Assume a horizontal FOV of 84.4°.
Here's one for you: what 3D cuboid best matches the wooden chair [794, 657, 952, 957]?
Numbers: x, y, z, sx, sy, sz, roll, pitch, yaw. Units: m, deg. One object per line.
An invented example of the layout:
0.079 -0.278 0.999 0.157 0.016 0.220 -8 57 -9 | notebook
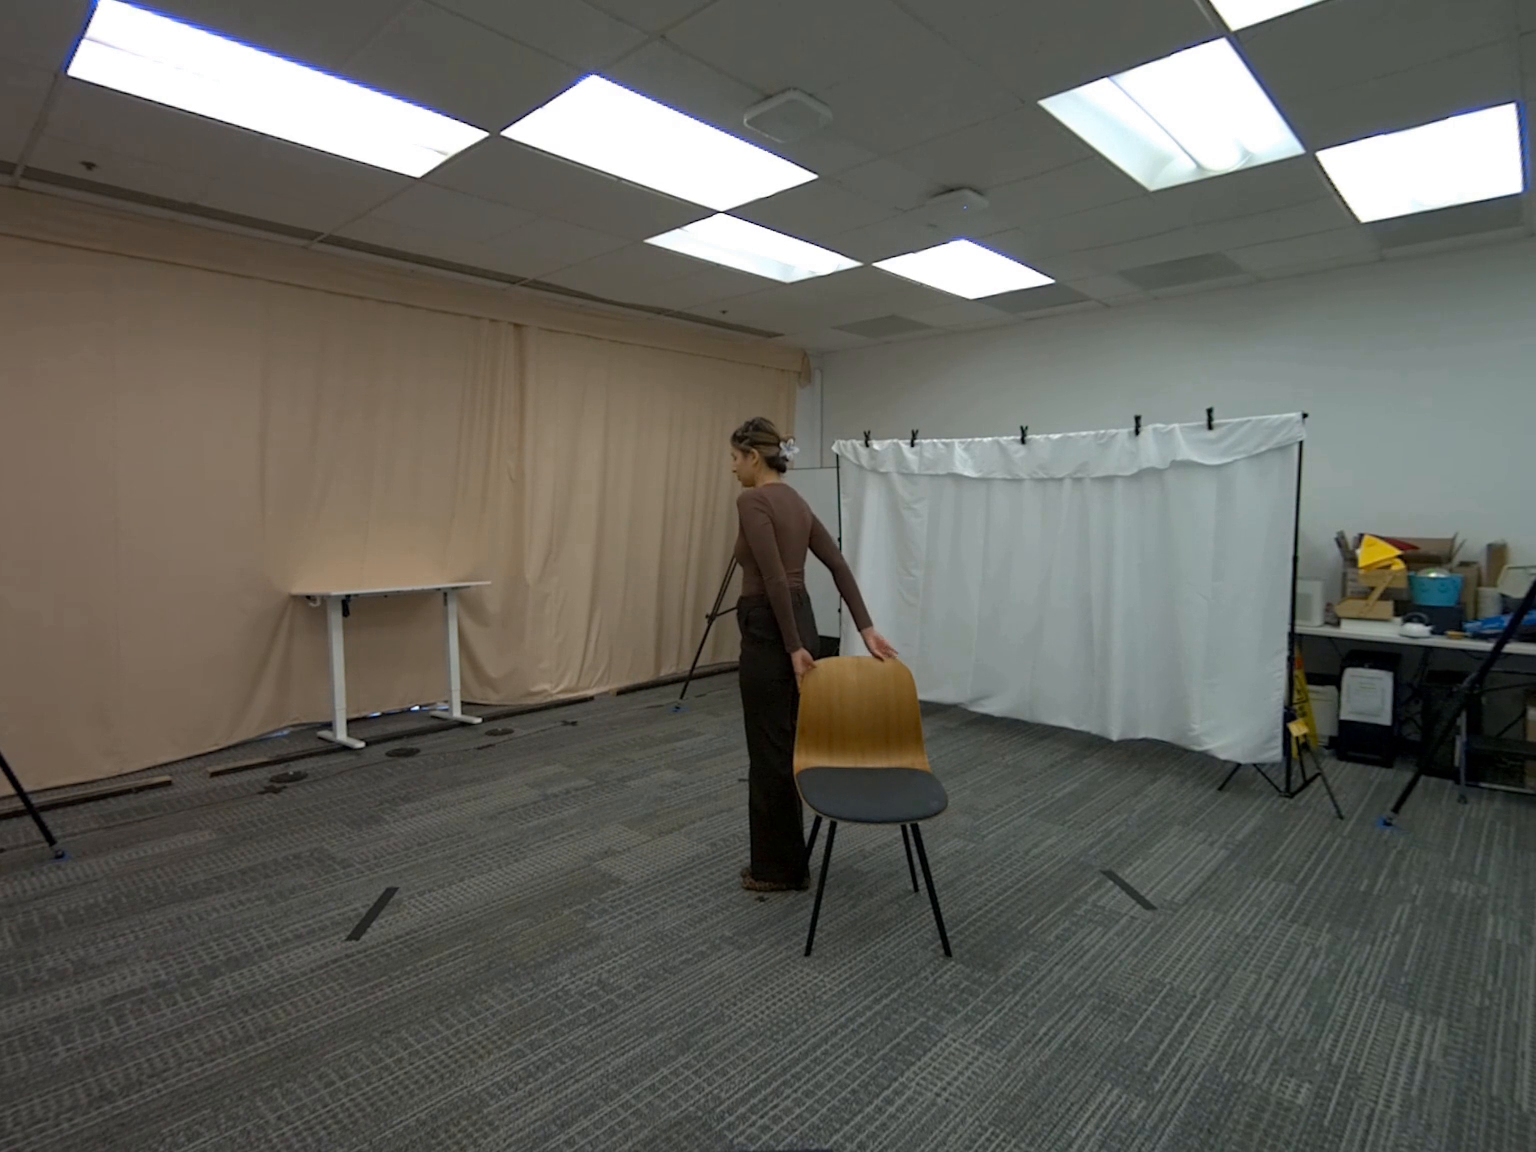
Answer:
0.341 0.732 2.780 0.478 0.878 0.523 0 -1 -1 | wooden chair
